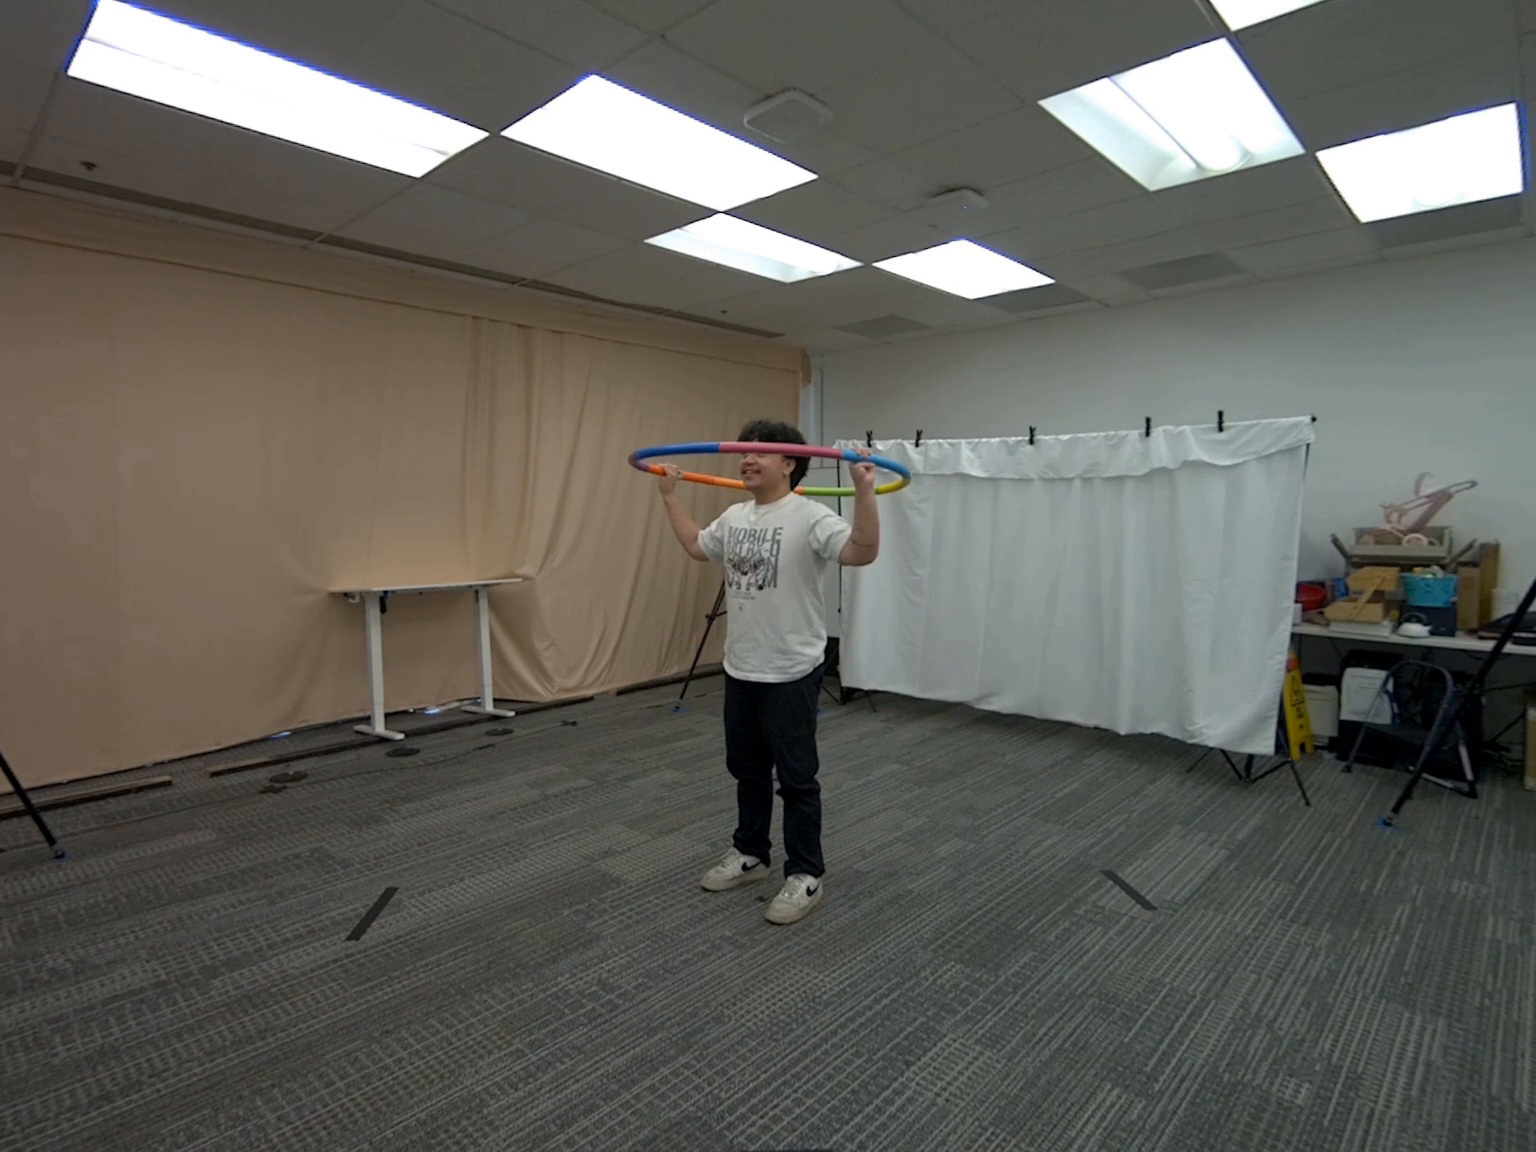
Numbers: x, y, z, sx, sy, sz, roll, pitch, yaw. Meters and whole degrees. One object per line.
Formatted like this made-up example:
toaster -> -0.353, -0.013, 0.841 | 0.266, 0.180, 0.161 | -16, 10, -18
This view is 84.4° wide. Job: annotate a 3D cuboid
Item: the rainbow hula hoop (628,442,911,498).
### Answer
rainbow hula hoop -> -0.001, -0.370, 2.944 | 0.985, 0.051, 0.986 | 5, -1, -2
